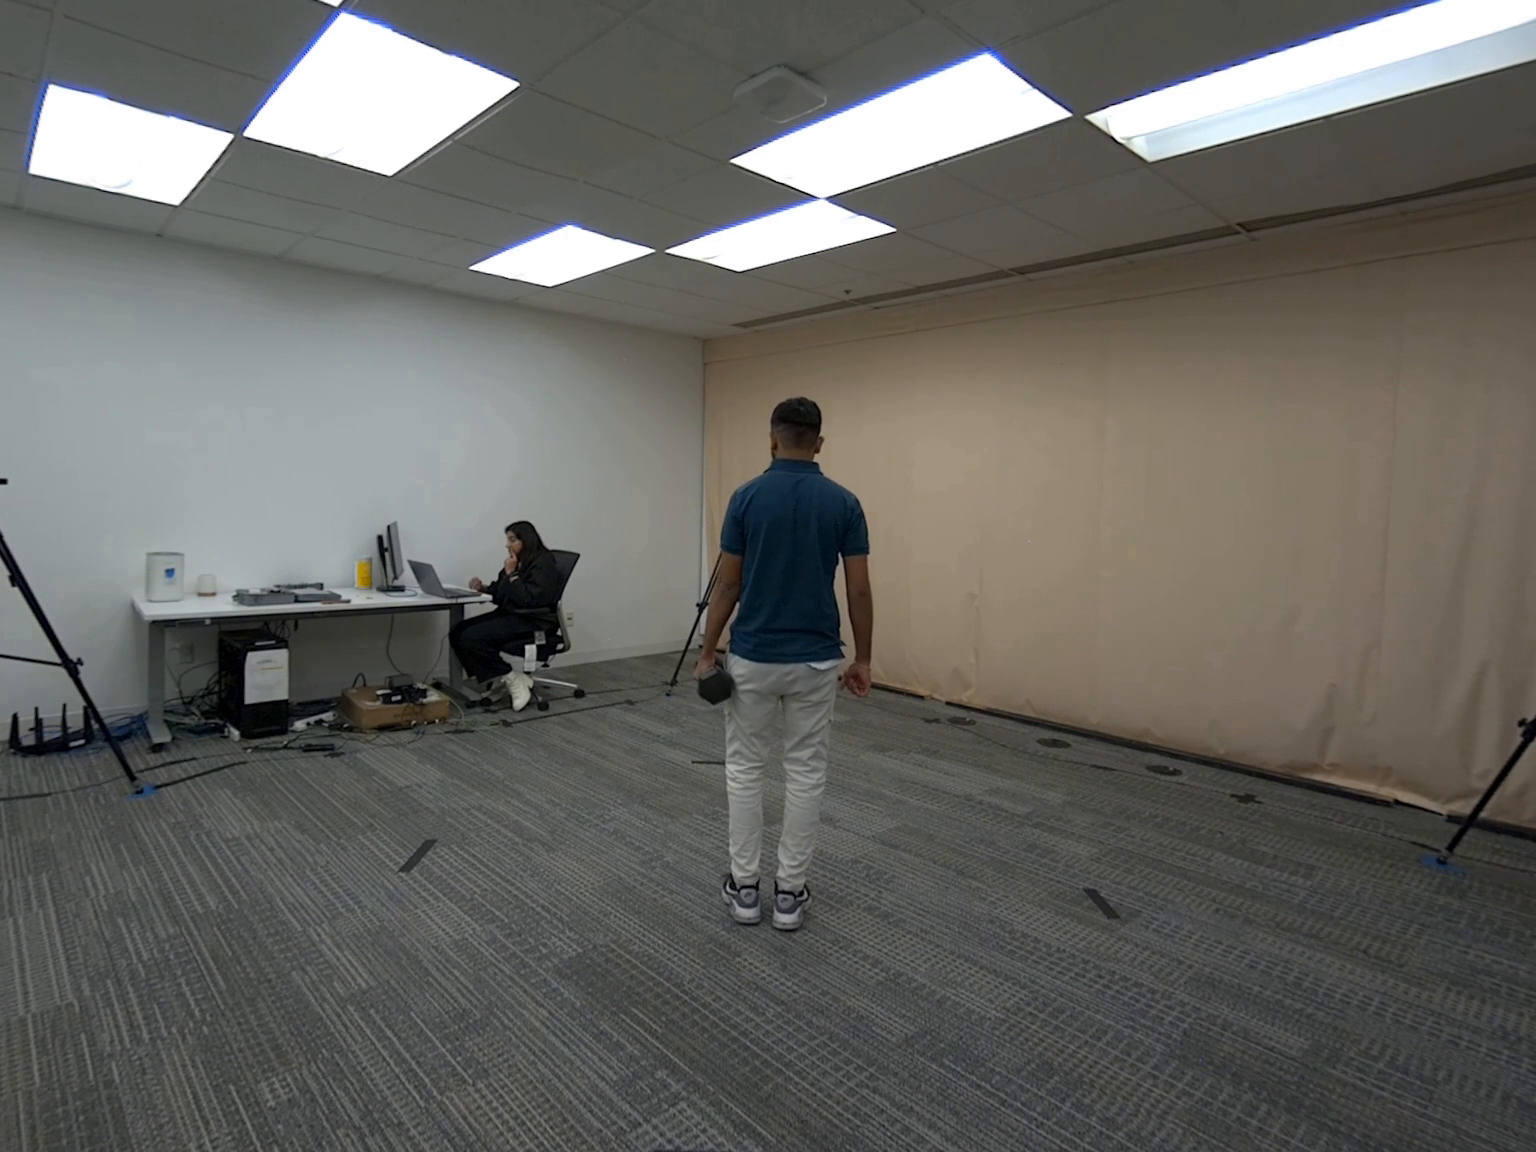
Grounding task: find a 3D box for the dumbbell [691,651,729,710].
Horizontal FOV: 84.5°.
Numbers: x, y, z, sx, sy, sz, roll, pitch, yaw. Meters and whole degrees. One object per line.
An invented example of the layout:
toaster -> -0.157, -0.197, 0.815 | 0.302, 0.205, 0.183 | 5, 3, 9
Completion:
dumbbell -> -0.201, 0.348, 2.873 | 0.108, 0.122, 0.295 | 5, 5, -5
